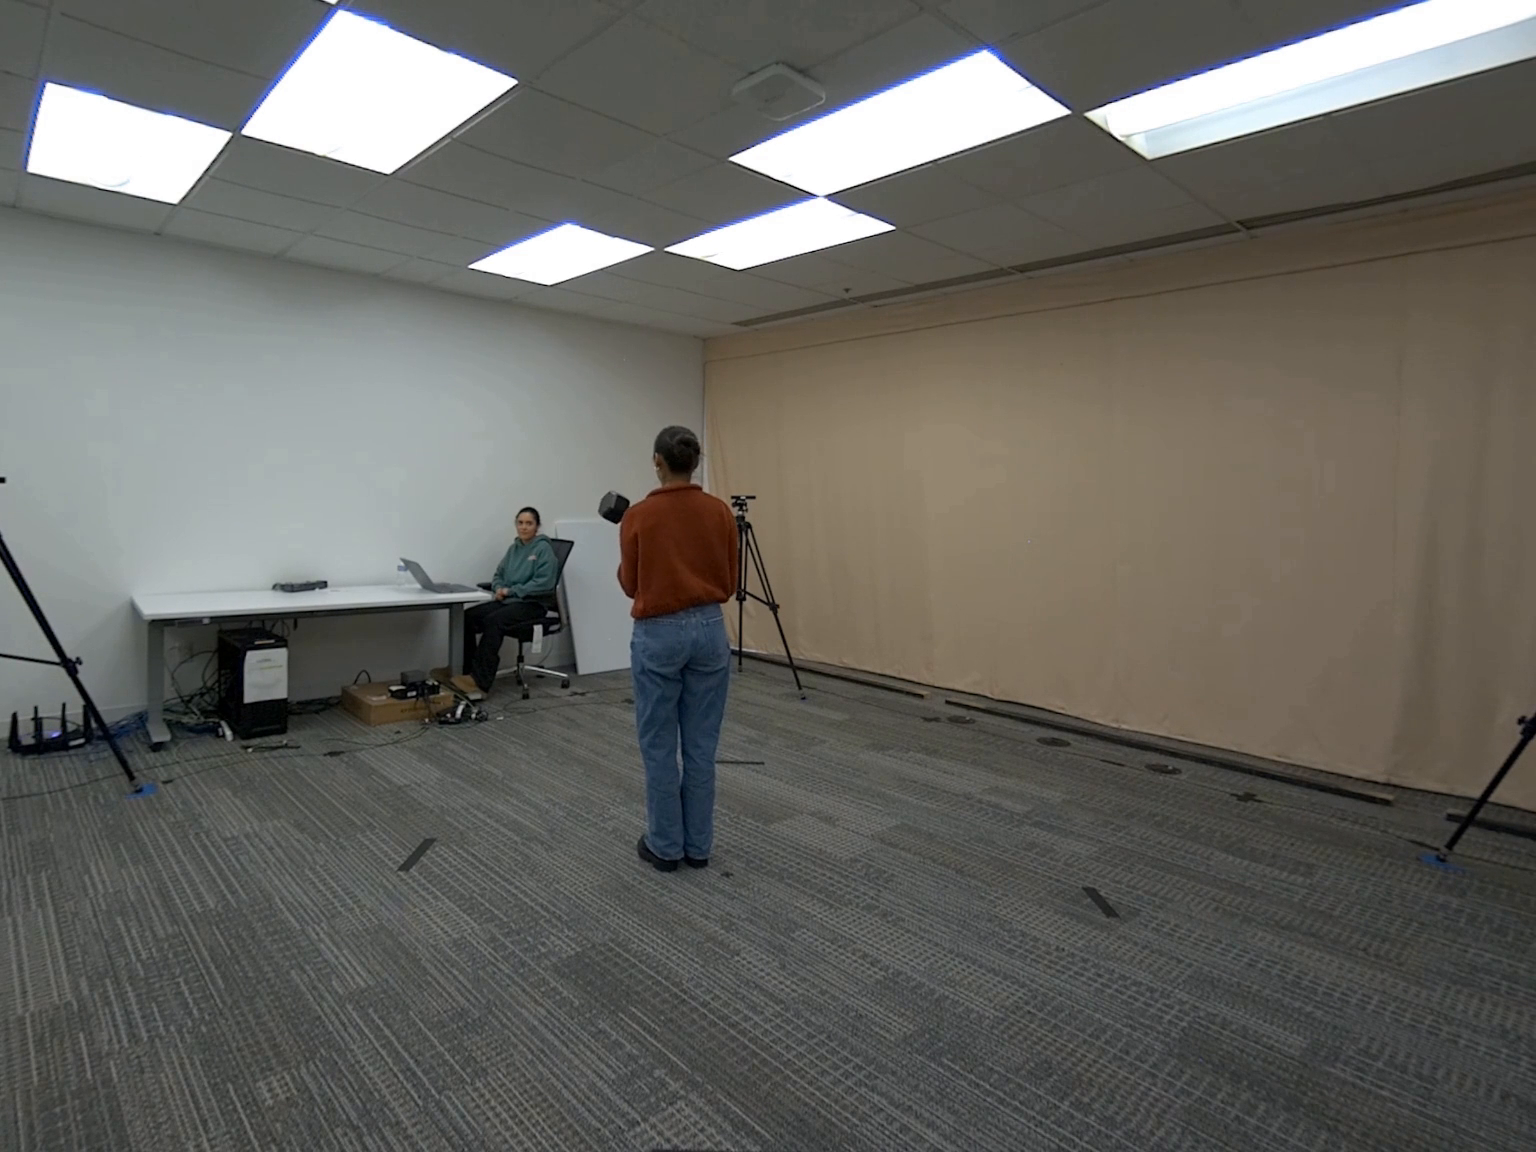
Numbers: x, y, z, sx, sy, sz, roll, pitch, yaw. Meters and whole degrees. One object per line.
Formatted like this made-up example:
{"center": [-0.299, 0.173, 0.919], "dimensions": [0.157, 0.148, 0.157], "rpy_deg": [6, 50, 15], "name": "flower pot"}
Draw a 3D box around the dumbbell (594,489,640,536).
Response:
{"center": [-0.515, -0.211, 3.296], "dimensions": [0.285, 0.124, 0.111], "rpy_deg": [28, -25, -36], "name": "dumbbell"}
